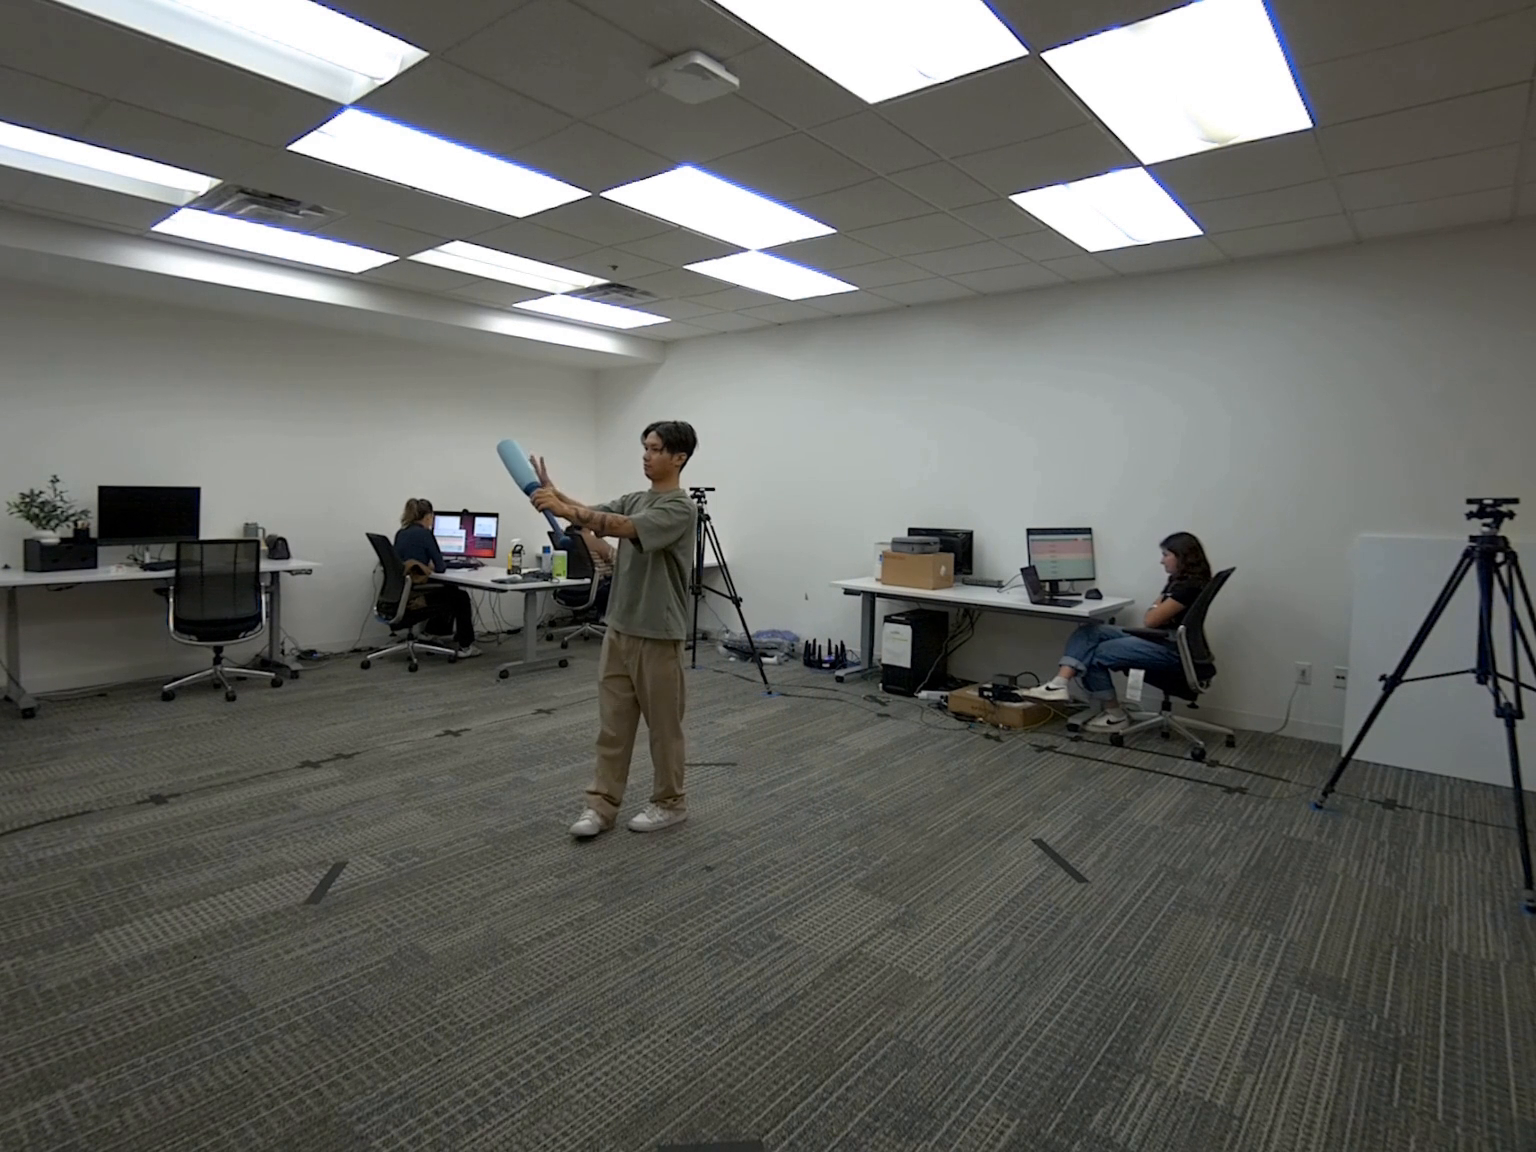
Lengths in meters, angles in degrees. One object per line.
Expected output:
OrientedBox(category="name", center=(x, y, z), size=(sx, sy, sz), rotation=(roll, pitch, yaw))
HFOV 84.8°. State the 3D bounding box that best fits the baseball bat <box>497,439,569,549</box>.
OrientedBox(category="baseball bat", center=(-0.876, -0.312, 3.141), size=(0.086, 0.089, 0.562), rotation=(-2, 48, -46))
